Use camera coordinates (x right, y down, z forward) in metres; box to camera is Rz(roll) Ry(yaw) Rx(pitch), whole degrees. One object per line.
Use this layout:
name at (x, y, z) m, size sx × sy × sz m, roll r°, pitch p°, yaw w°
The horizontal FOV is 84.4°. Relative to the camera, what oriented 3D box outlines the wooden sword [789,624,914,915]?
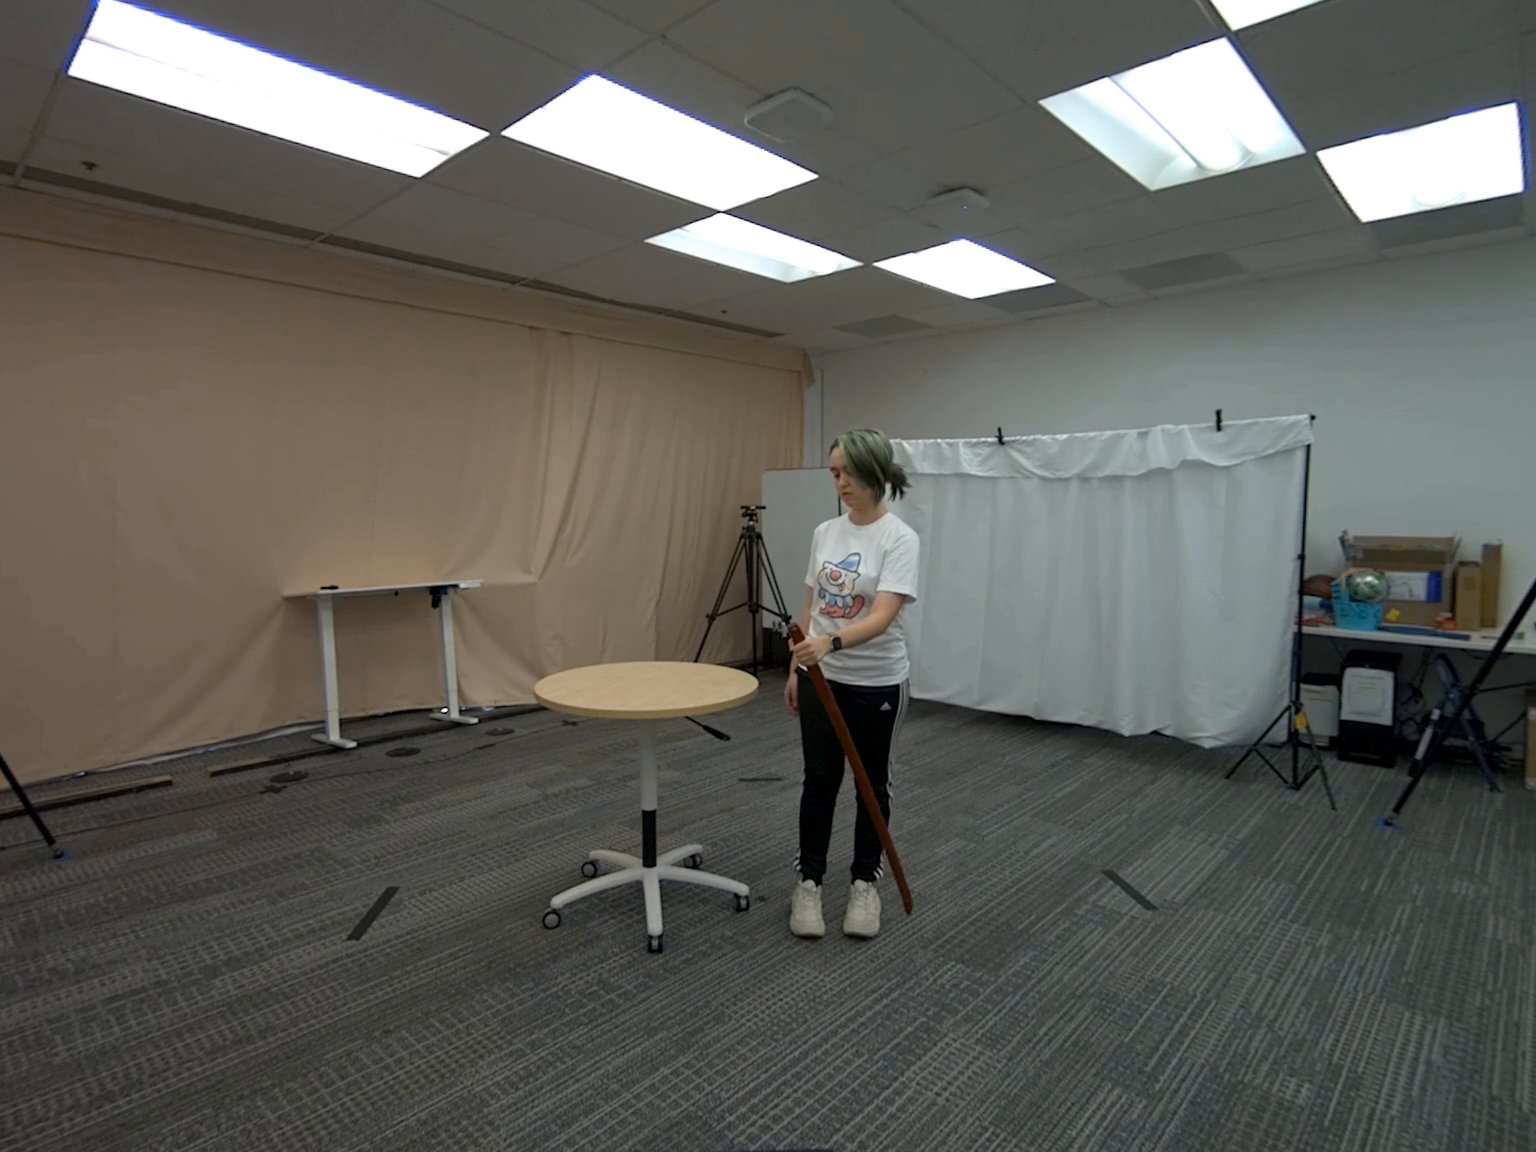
wooden sword at (0.273, 0.612, 2.511) m, size 0.025 × 1.010 × 0.050 m, roll -8°, pitch 22°, yaw 48°
